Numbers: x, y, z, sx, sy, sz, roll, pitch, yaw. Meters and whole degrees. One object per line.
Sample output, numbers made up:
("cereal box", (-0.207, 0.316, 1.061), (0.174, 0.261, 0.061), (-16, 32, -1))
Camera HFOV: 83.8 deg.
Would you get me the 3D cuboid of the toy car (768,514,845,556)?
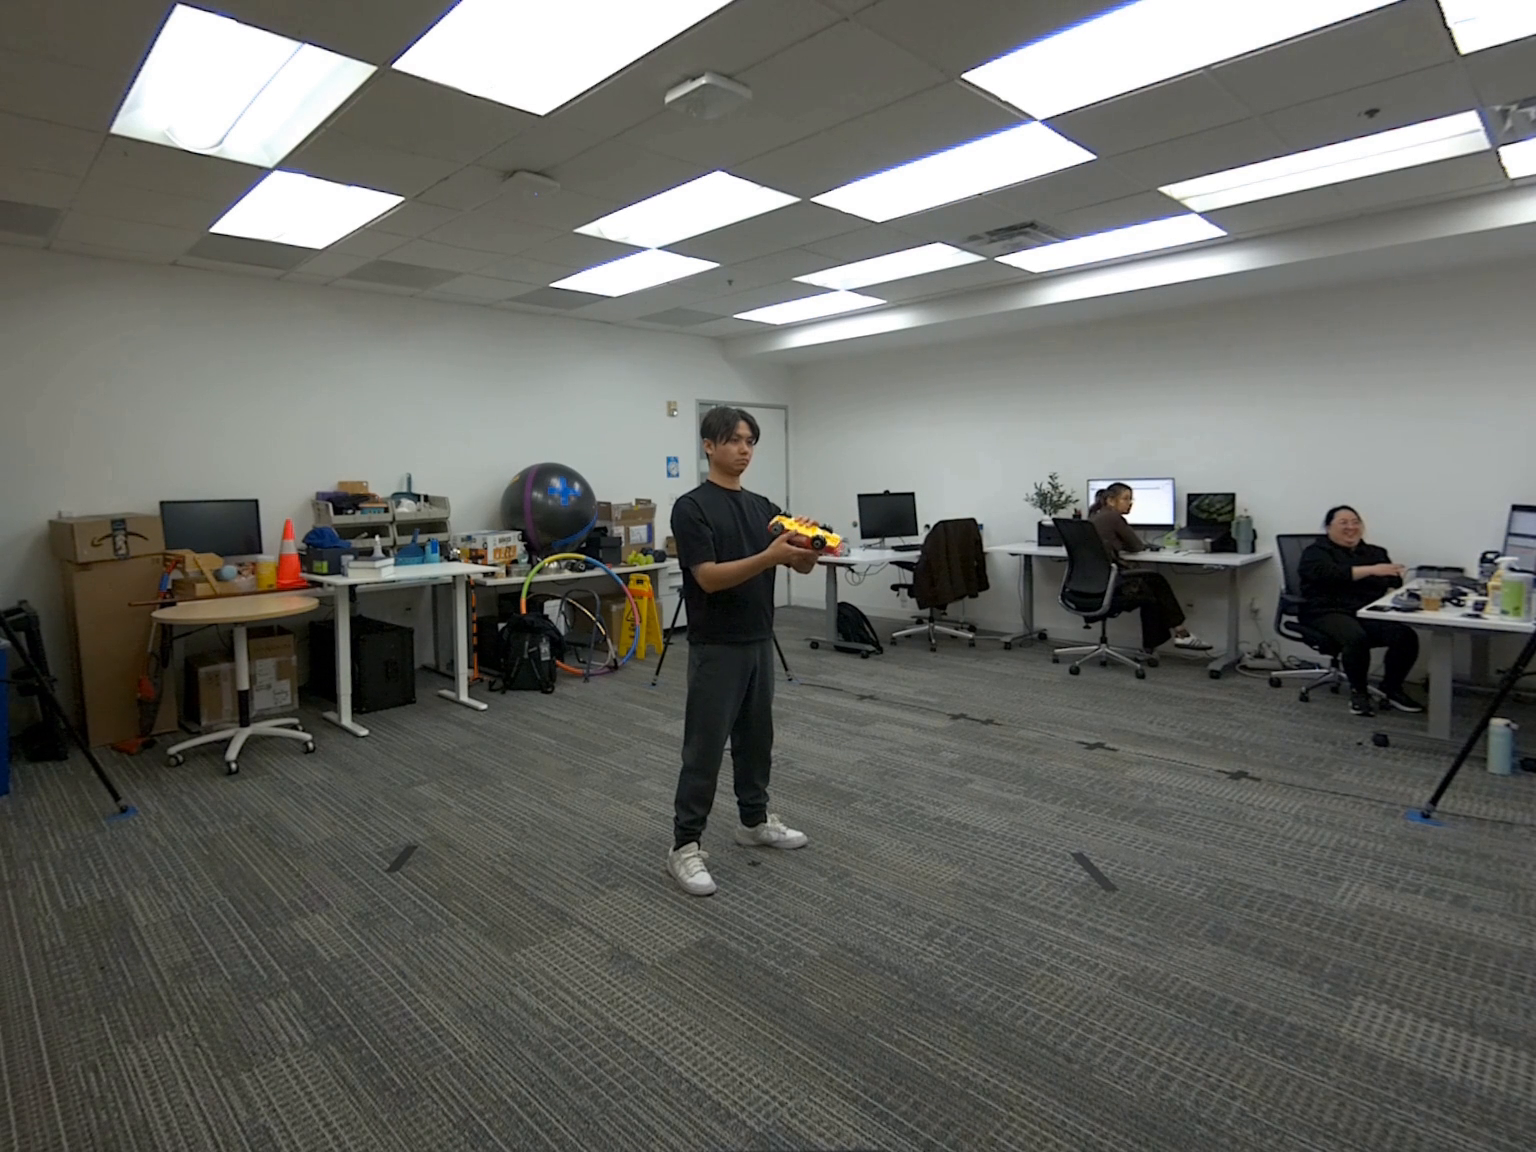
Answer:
("toy car", (0.127, -0.139, 2.846), (0.257, 0.082, 0.130), (28, 31, 7))
